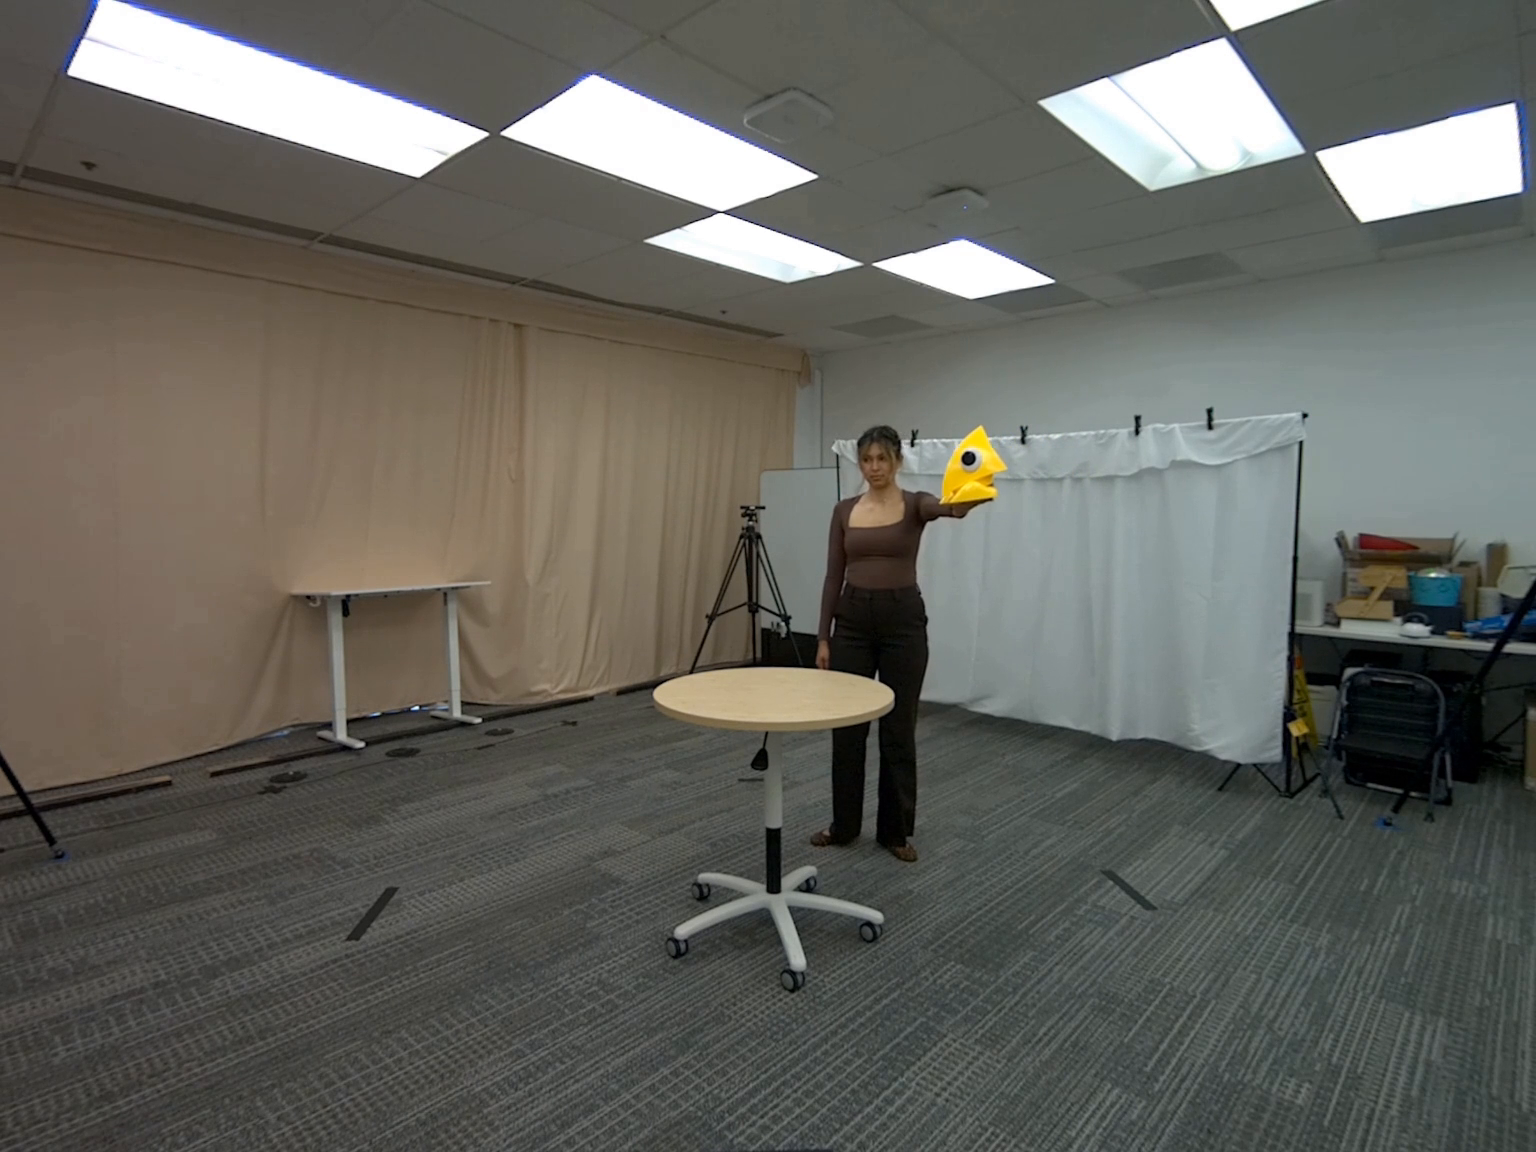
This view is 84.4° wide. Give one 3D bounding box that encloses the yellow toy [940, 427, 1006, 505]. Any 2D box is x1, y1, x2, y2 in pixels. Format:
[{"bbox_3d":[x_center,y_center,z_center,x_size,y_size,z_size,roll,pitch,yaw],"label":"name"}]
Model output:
[{"bbox_3d":[0.653,-0.358,2.712,0.193,0.230,0.205,-8,3,-2],"label":"yellow toy"}]
